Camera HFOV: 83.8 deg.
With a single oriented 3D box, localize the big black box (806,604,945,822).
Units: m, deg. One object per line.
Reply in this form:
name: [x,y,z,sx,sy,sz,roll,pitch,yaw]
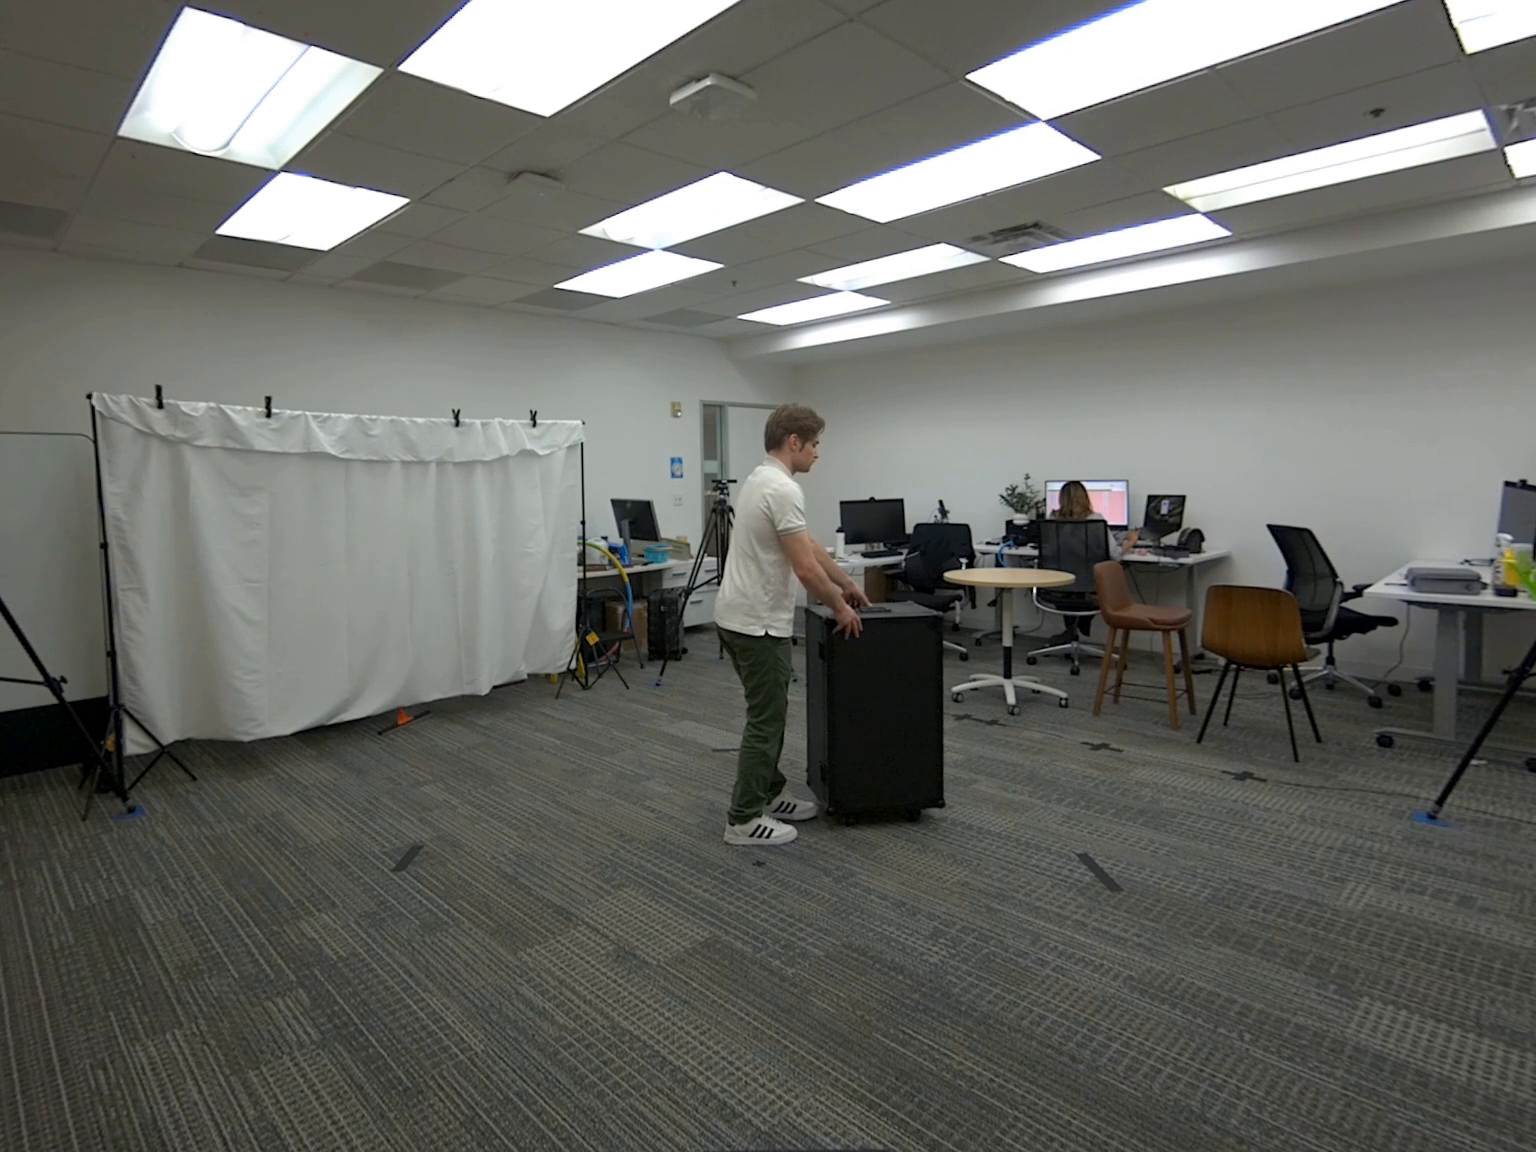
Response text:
big black box: [0.432,0.572,3.554,0.519,0.866,0.389,0,3,-9]
